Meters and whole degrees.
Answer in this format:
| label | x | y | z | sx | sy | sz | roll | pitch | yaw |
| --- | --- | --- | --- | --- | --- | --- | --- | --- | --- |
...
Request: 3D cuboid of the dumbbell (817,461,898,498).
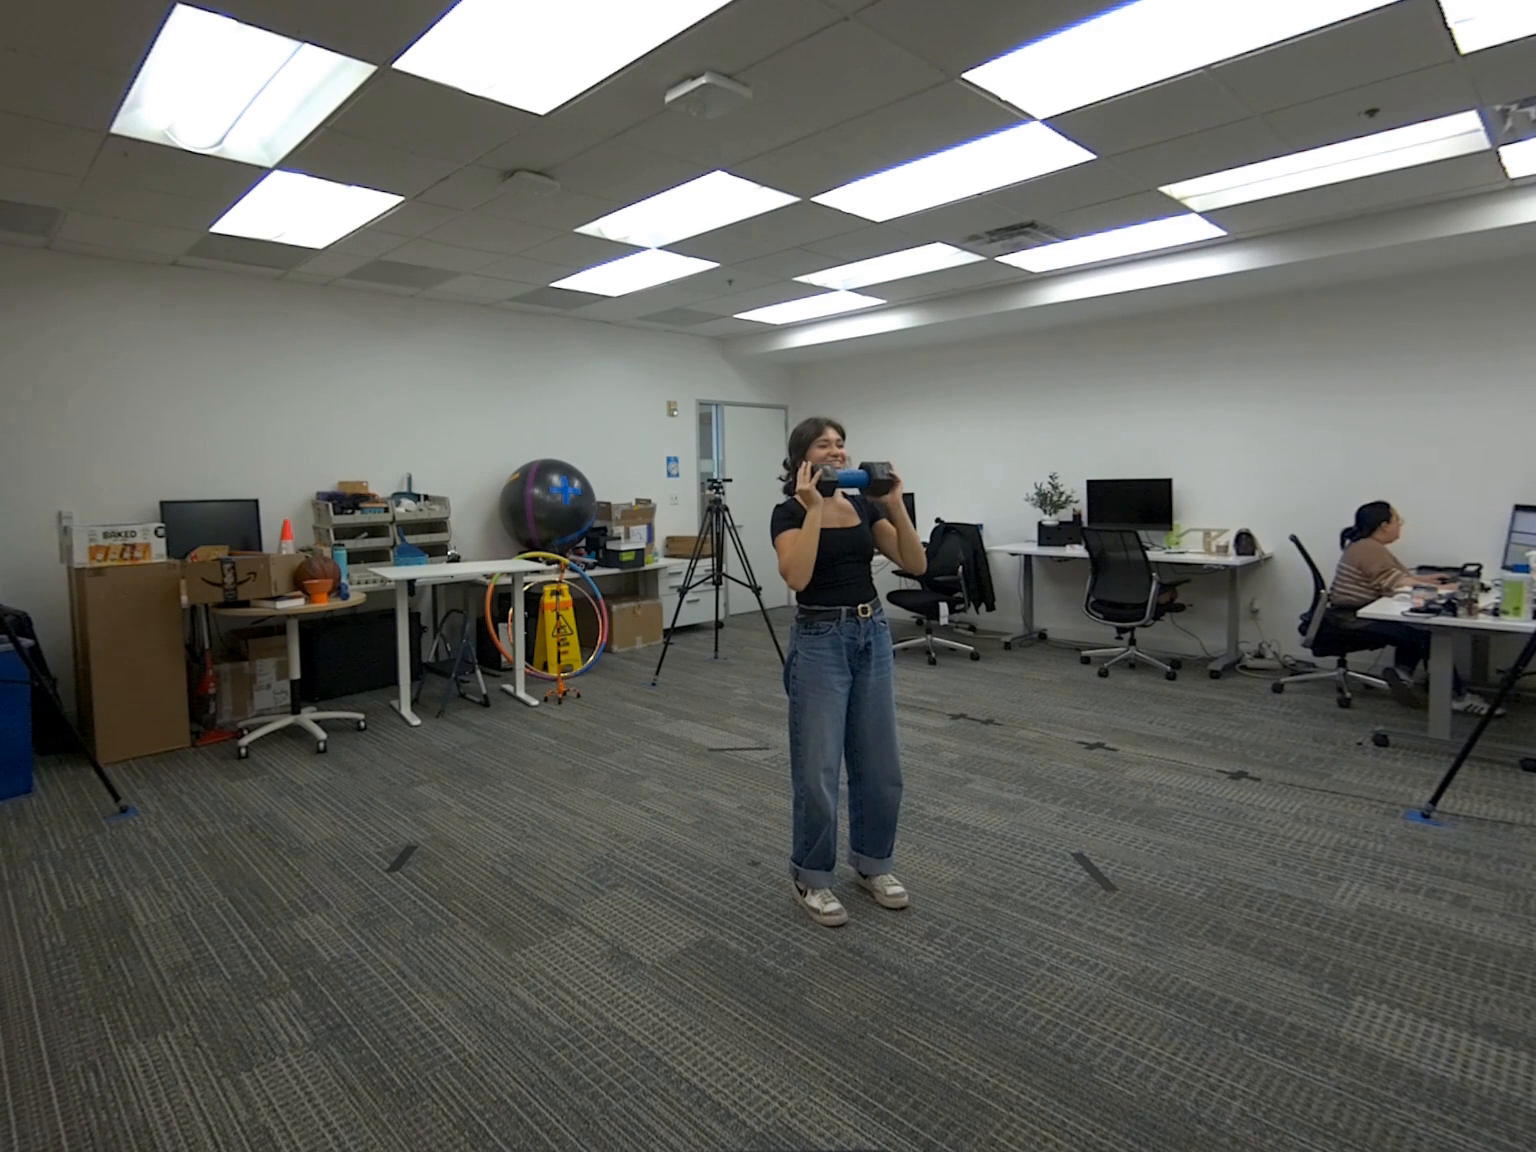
| label | x | y | z | sx | sy | sz | roll | pitch | yaw |
| --- | --- | --- | --- | --- | --- | --- | --- | --- | --- |
| dumbbell | 0.245 | -0.314 | 2.680 | 0.287 | 0.121 | 0.113 | -4 | 37 | -27 |
